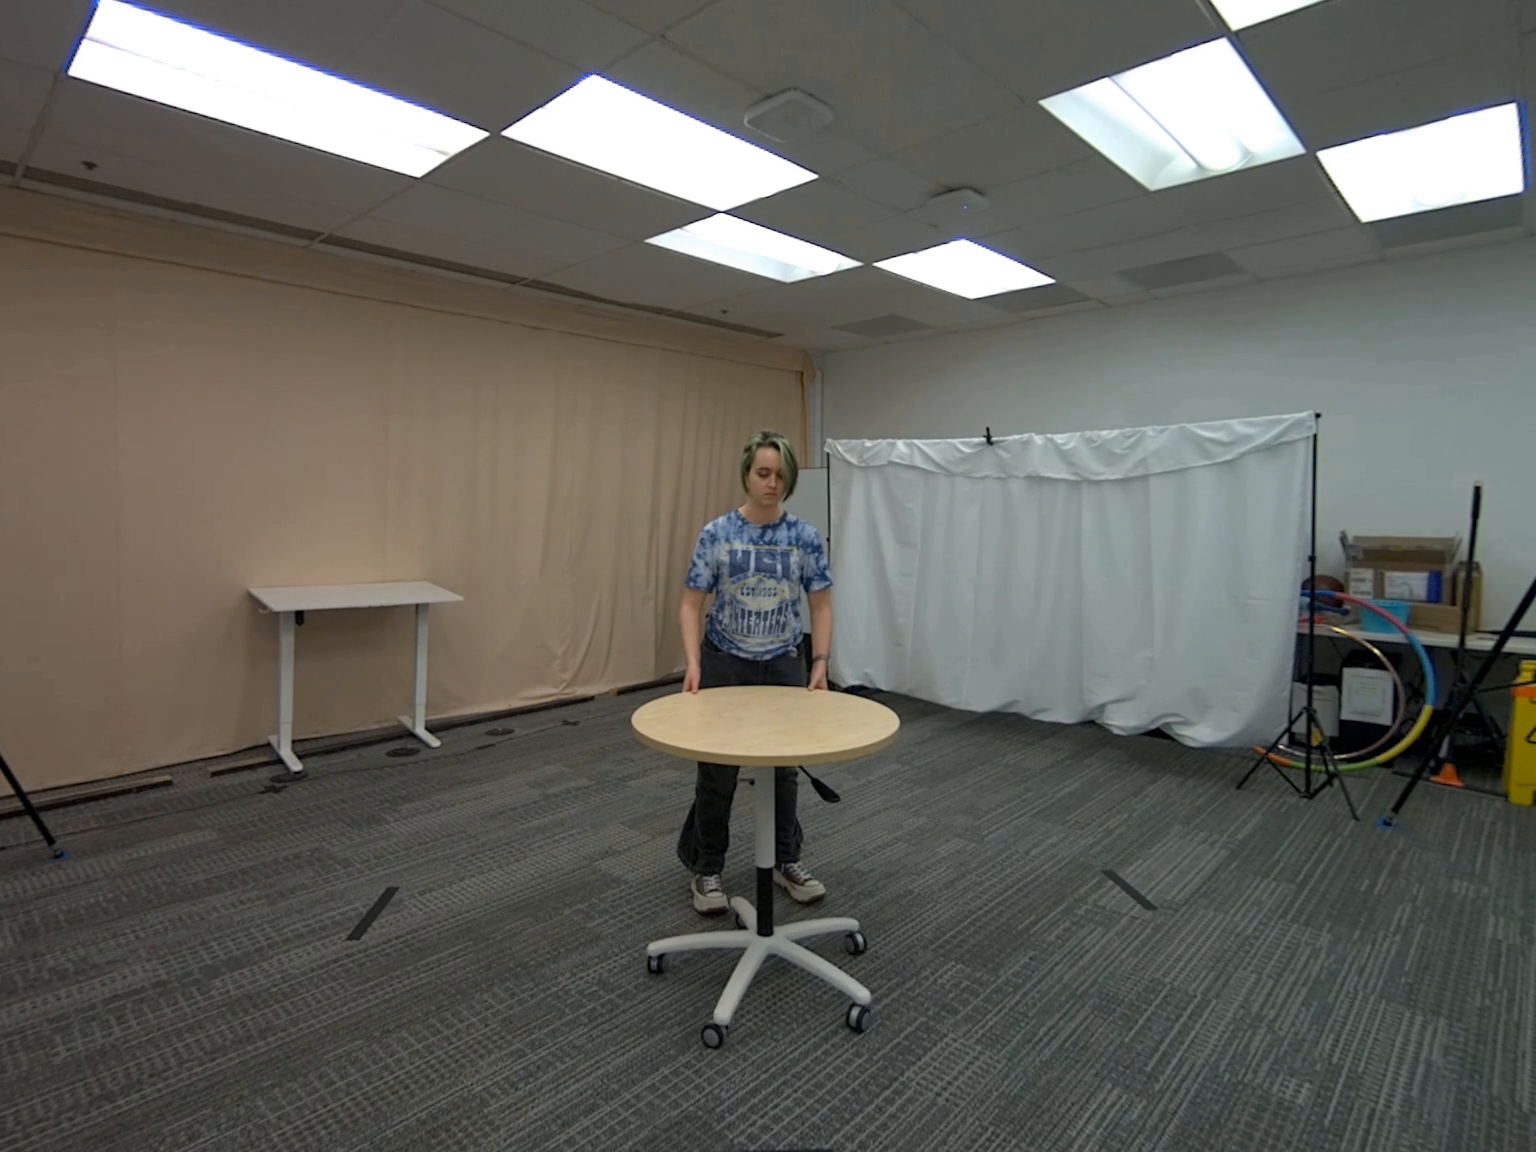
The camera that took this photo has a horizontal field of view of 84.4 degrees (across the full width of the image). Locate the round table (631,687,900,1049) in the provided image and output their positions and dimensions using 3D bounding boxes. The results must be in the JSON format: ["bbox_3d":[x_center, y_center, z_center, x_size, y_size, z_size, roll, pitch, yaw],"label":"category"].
[{"bbox_3d":[0.002,0.798,2.451,0.763,0.792,0.767,0,4,-2],"label":"round table"}]
